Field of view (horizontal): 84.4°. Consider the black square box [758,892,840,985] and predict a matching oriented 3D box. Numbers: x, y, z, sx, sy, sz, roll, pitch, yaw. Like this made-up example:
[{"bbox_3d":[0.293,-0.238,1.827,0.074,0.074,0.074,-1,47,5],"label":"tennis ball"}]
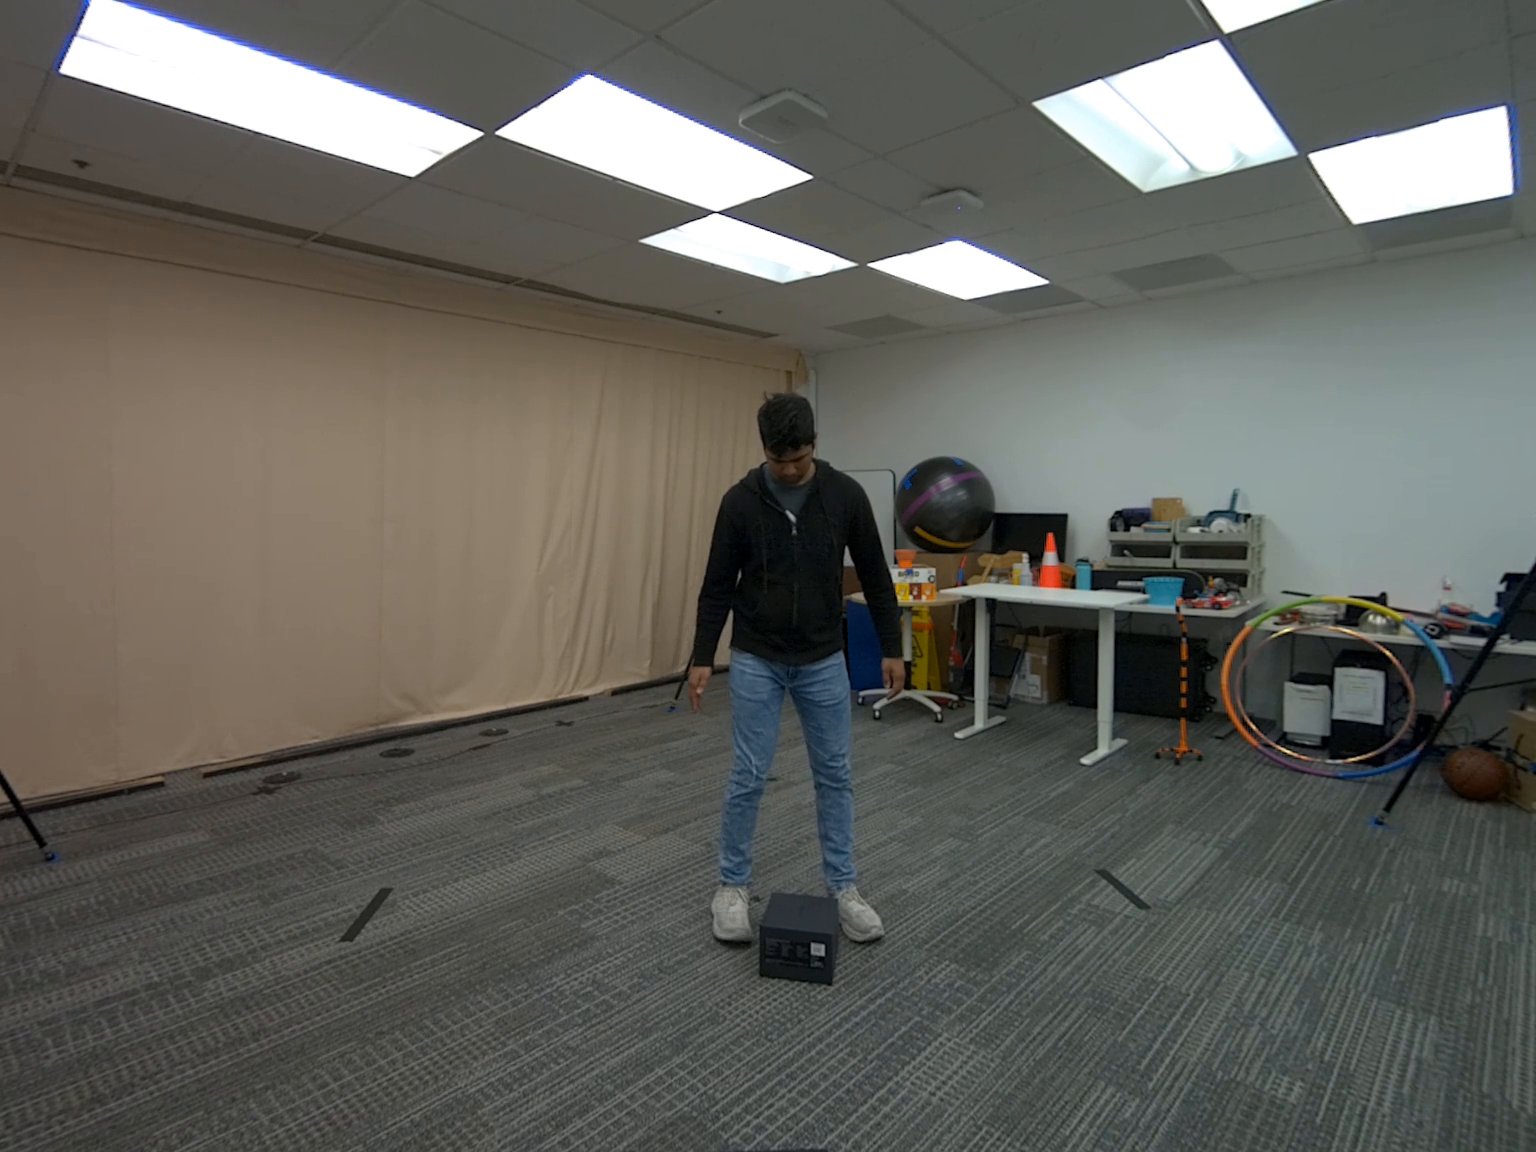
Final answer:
[{"bbox_3d":[0.104,1.092,2.568,0.220,0.155,0.225,1,3,11],"label":"black square box"}]
